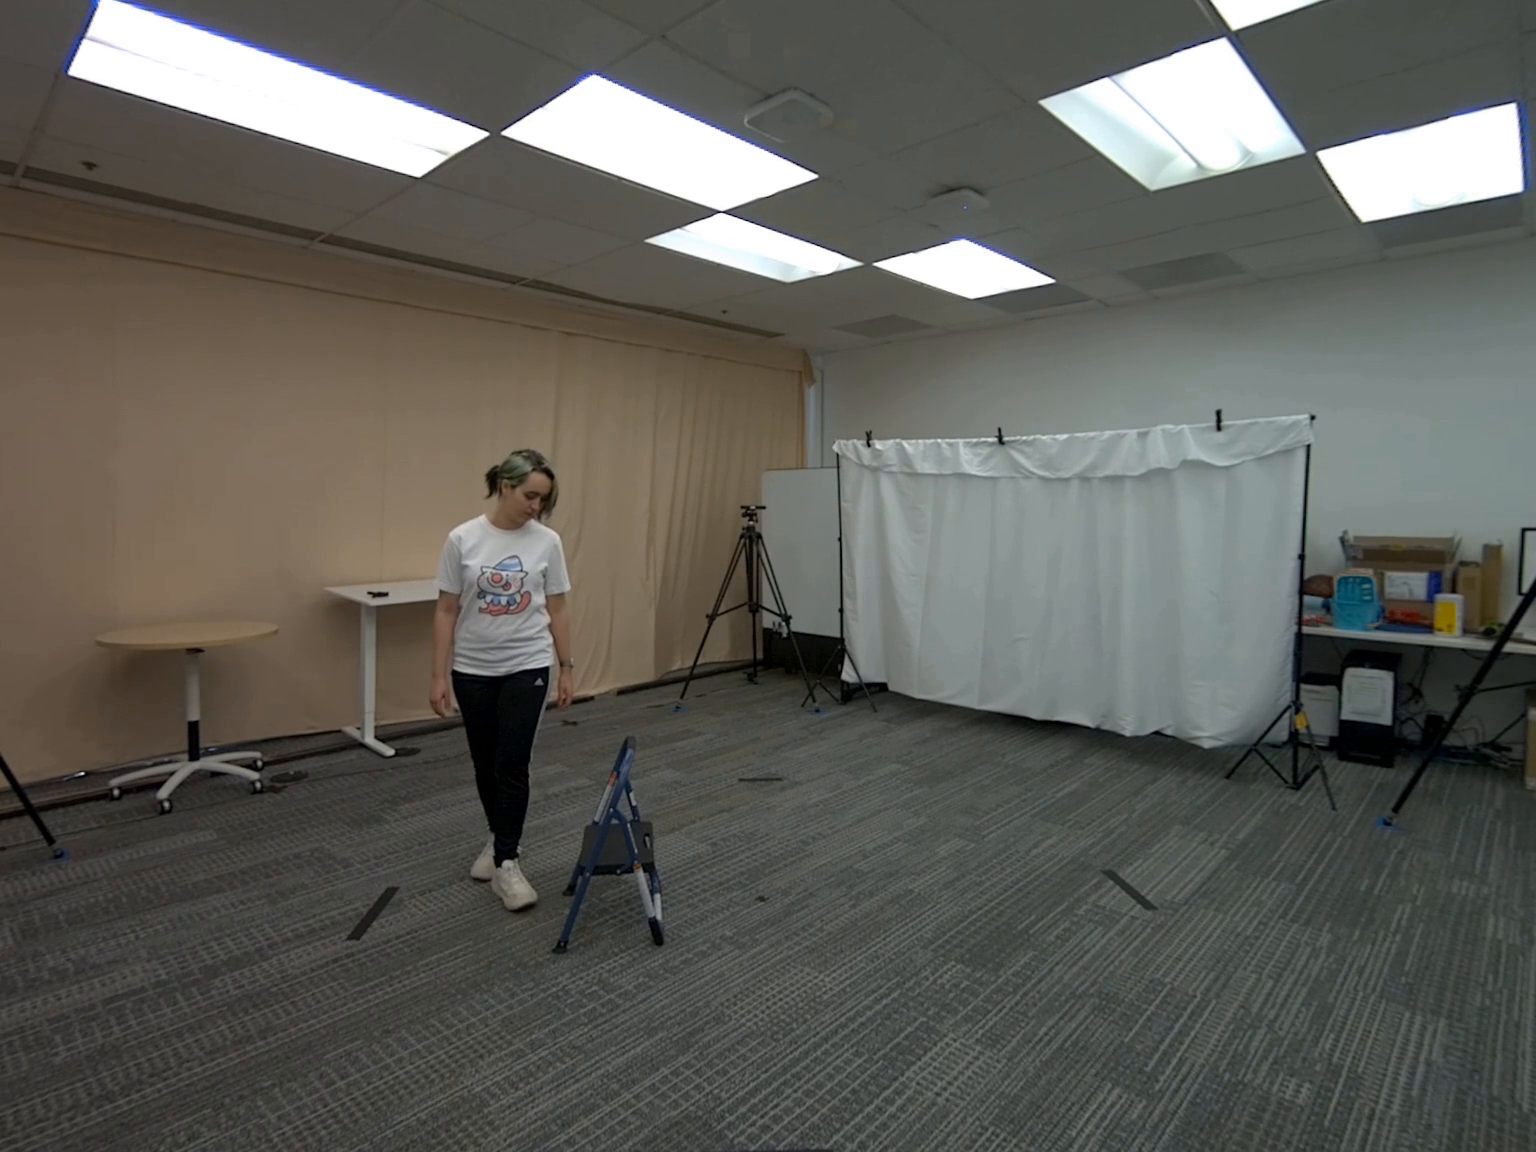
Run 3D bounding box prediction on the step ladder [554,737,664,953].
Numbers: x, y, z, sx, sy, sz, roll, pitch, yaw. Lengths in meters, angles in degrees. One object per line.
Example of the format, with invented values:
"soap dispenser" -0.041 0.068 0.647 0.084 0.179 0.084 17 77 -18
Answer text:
"step ladder" -0.532 0.860 2.836 0.347 0.605 0.435 -1 3 -8
